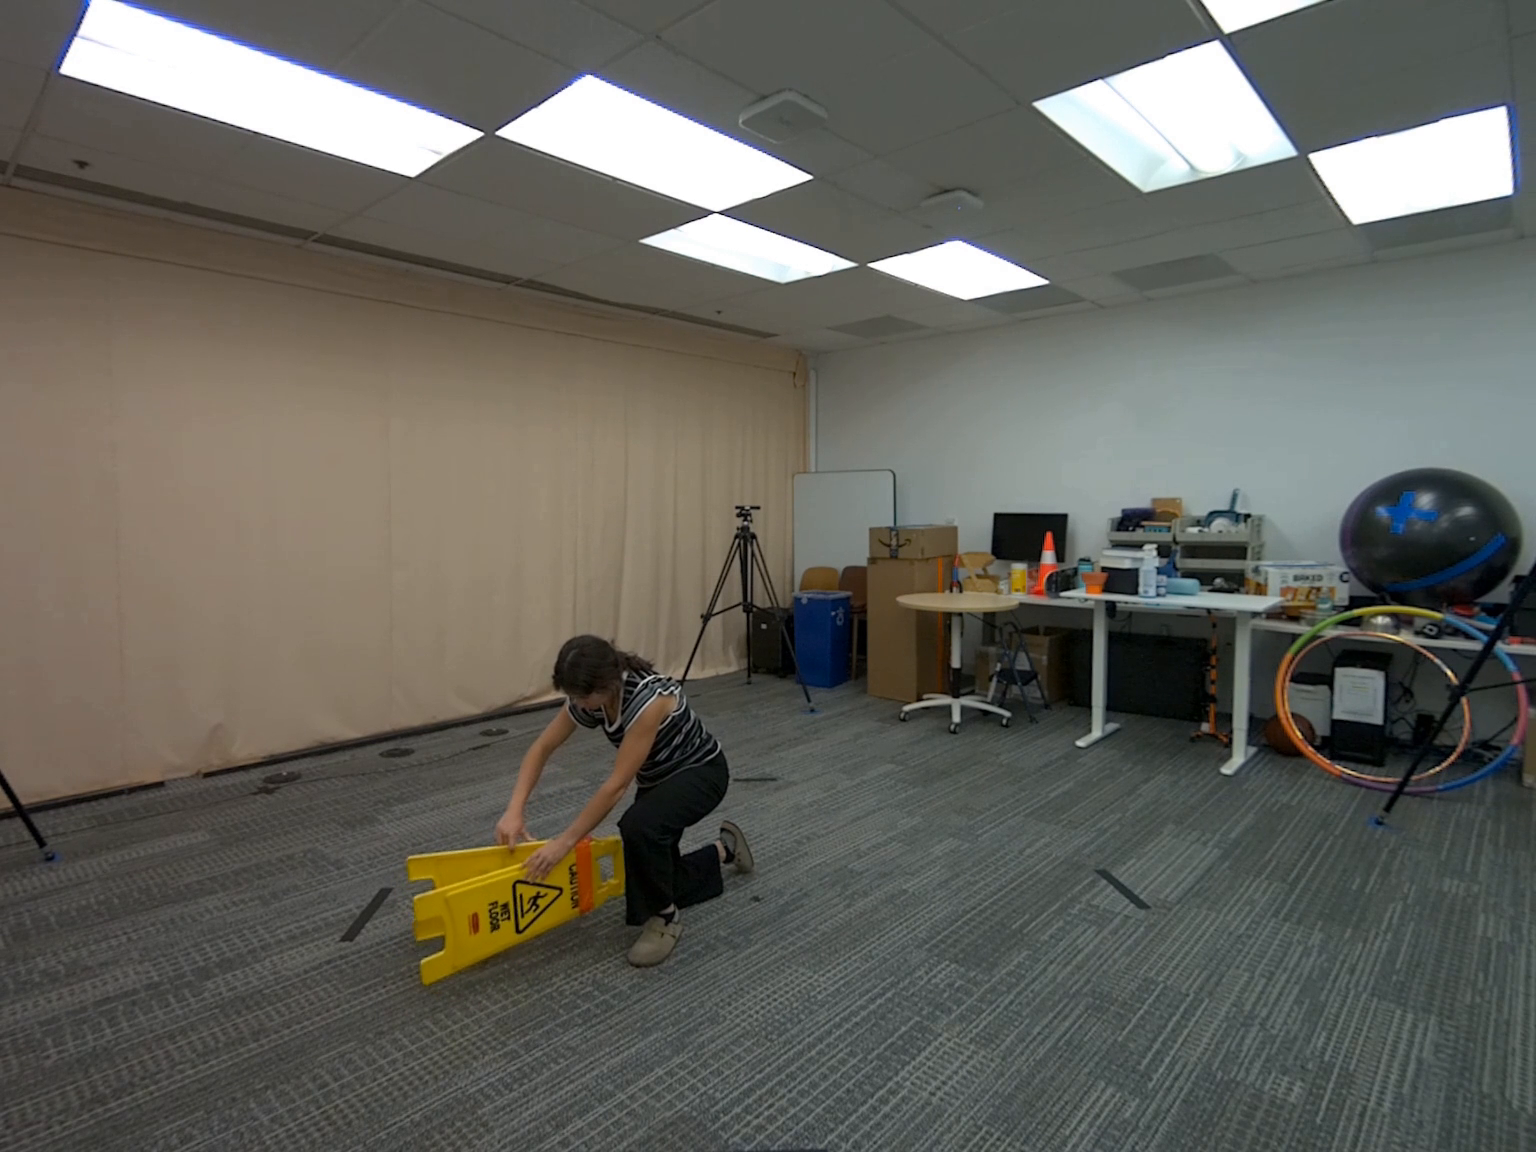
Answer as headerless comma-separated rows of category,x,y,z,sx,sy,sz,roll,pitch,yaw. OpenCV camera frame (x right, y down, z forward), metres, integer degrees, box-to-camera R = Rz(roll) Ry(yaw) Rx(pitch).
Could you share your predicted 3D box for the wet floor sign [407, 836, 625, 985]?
wet floor sign,-0.764,0.984,2.609,0.633,0.280,0.298,-7,12,-23
